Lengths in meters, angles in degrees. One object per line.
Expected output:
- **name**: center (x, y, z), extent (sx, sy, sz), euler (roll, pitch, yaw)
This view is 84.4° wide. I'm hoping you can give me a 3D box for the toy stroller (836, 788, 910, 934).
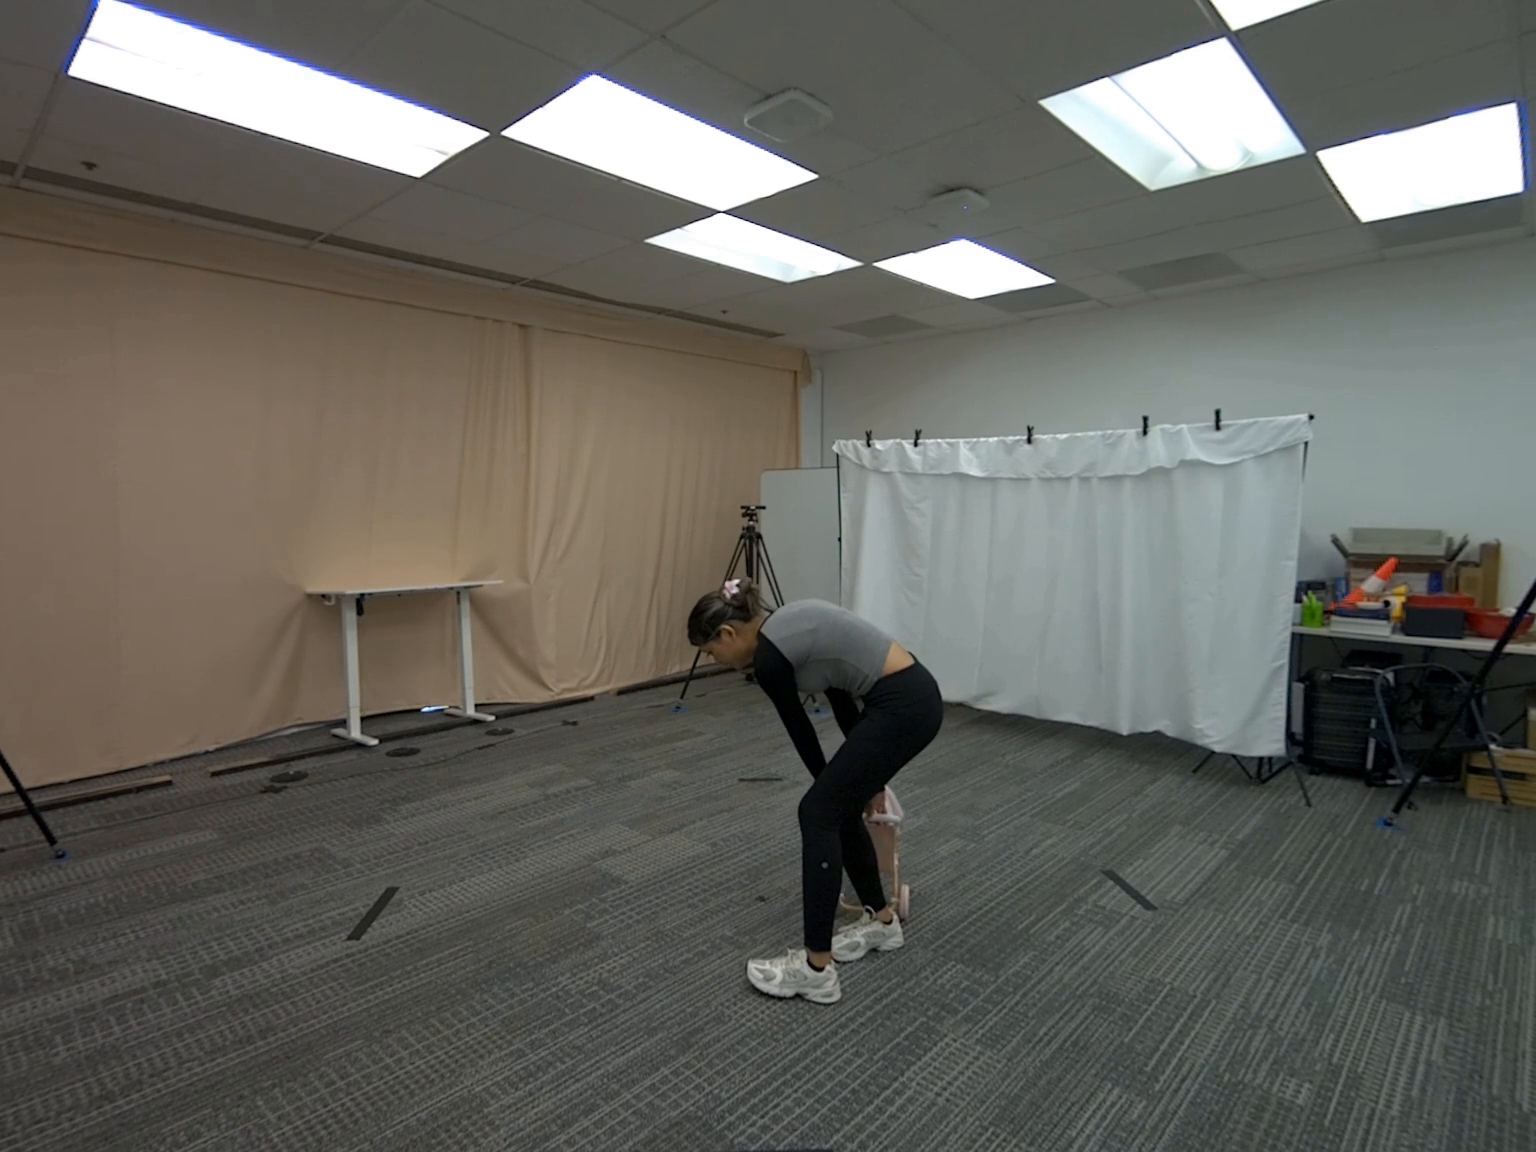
- **toy stroller**: center (0.355, 0.924, 2.900), extent (0.286, 0.527, 0.341), euler (2, 23, 14)
